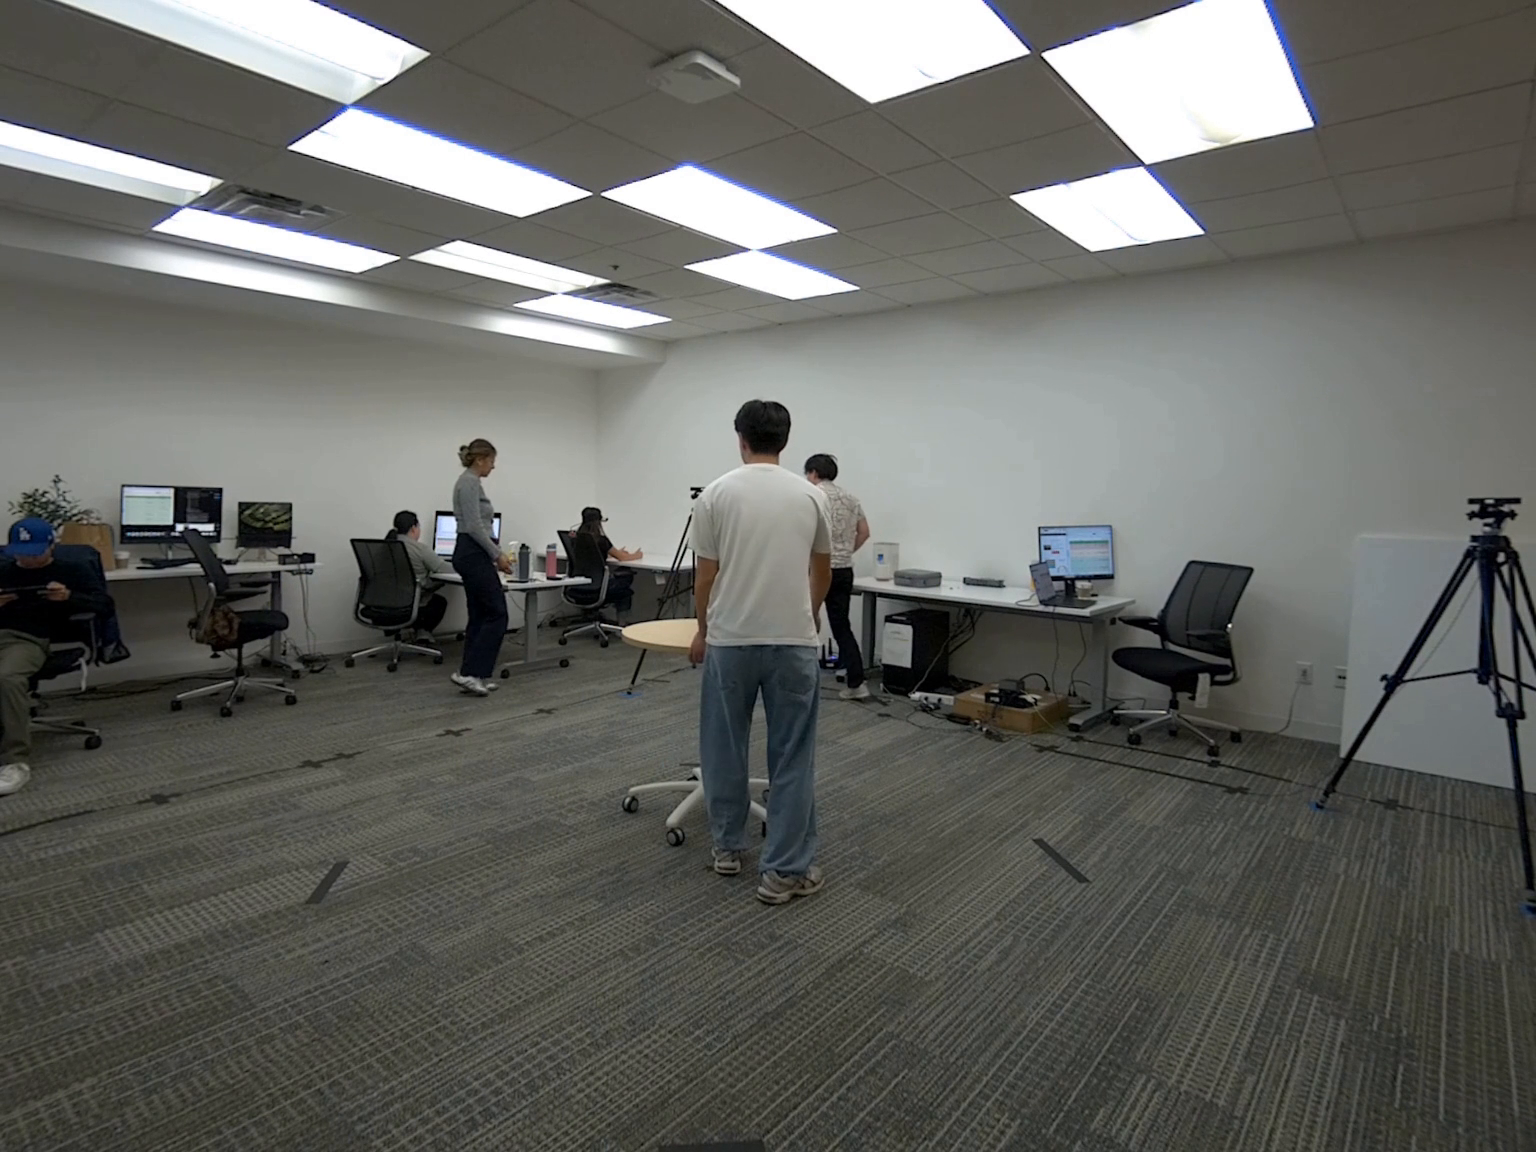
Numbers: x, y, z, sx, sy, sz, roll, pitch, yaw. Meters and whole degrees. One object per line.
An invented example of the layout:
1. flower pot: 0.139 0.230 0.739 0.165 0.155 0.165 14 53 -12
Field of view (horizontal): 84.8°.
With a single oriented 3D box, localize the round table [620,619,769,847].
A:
1. round table: -0.245 0.619 3.610 0.784 0.784 0.789 1 4 -2
